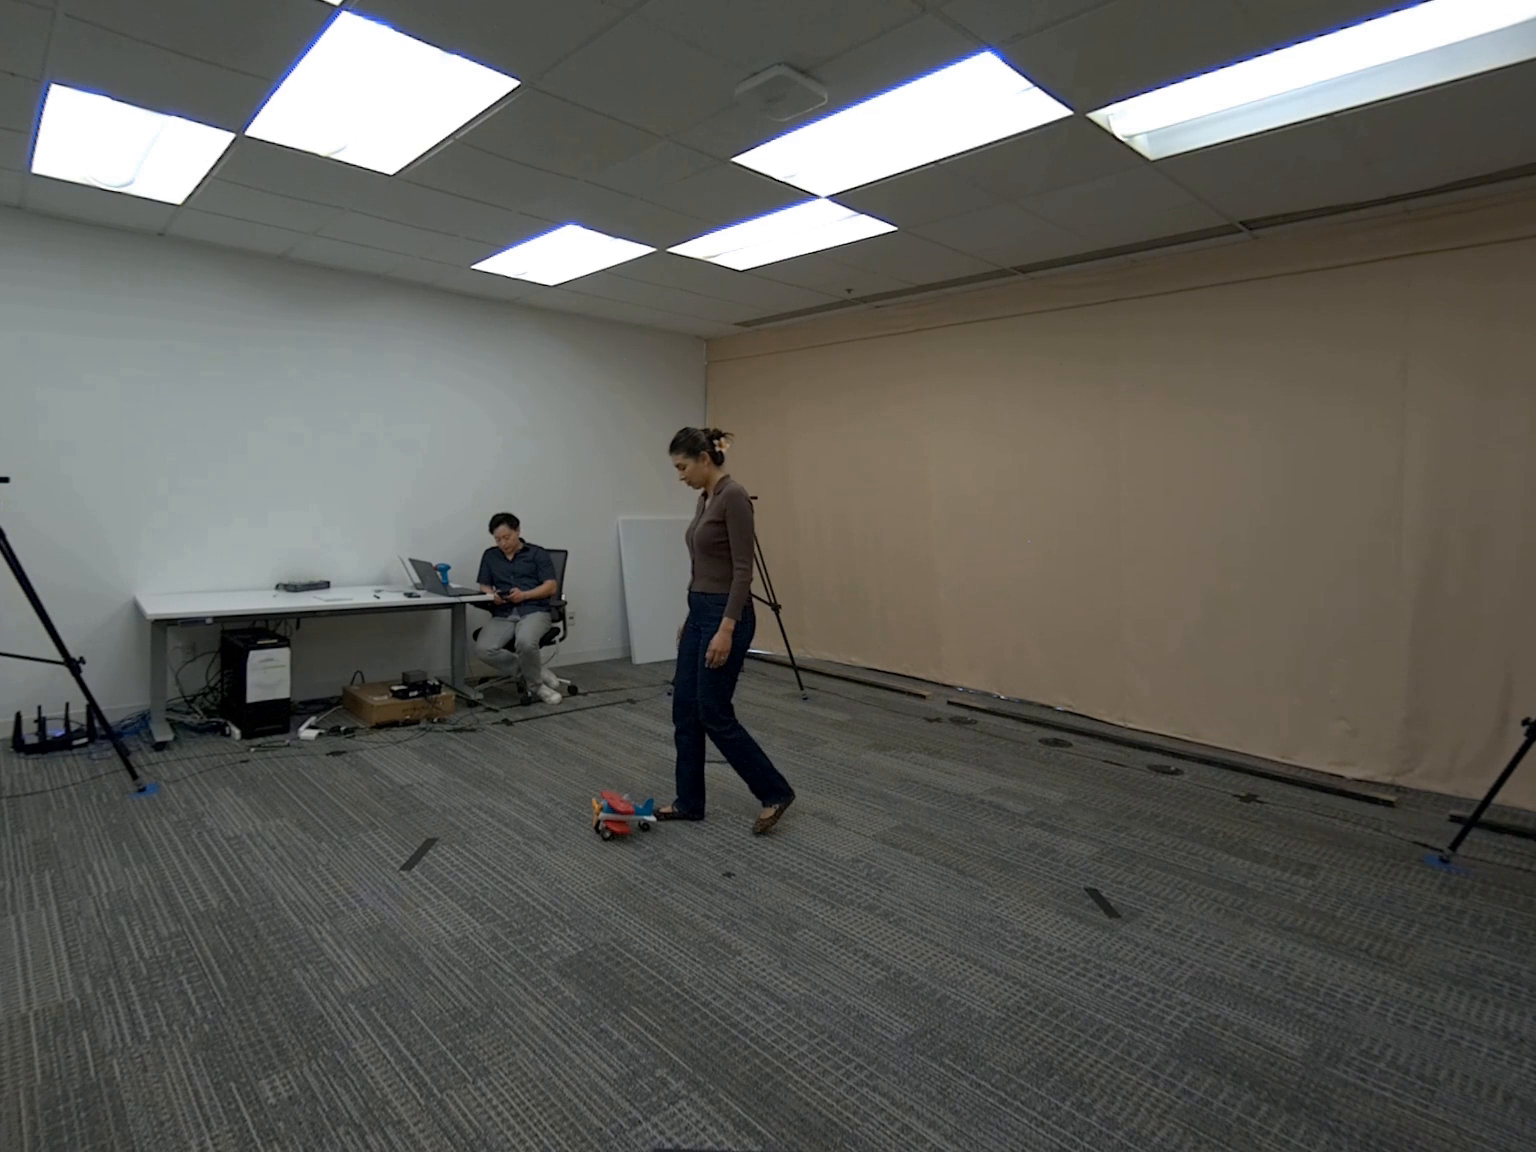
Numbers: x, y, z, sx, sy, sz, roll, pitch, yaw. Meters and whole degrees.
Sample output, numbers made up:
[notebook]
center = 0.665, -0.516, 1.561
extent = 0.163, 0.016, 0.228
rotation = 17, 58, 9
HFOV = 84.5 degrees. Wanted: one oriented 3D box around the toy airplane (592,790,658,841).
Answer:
[toy airplane]
center = -0.614, 0.982, 3.477
extent = 0.257, 0.156, 0.254
rotation = 4, 6, 32
